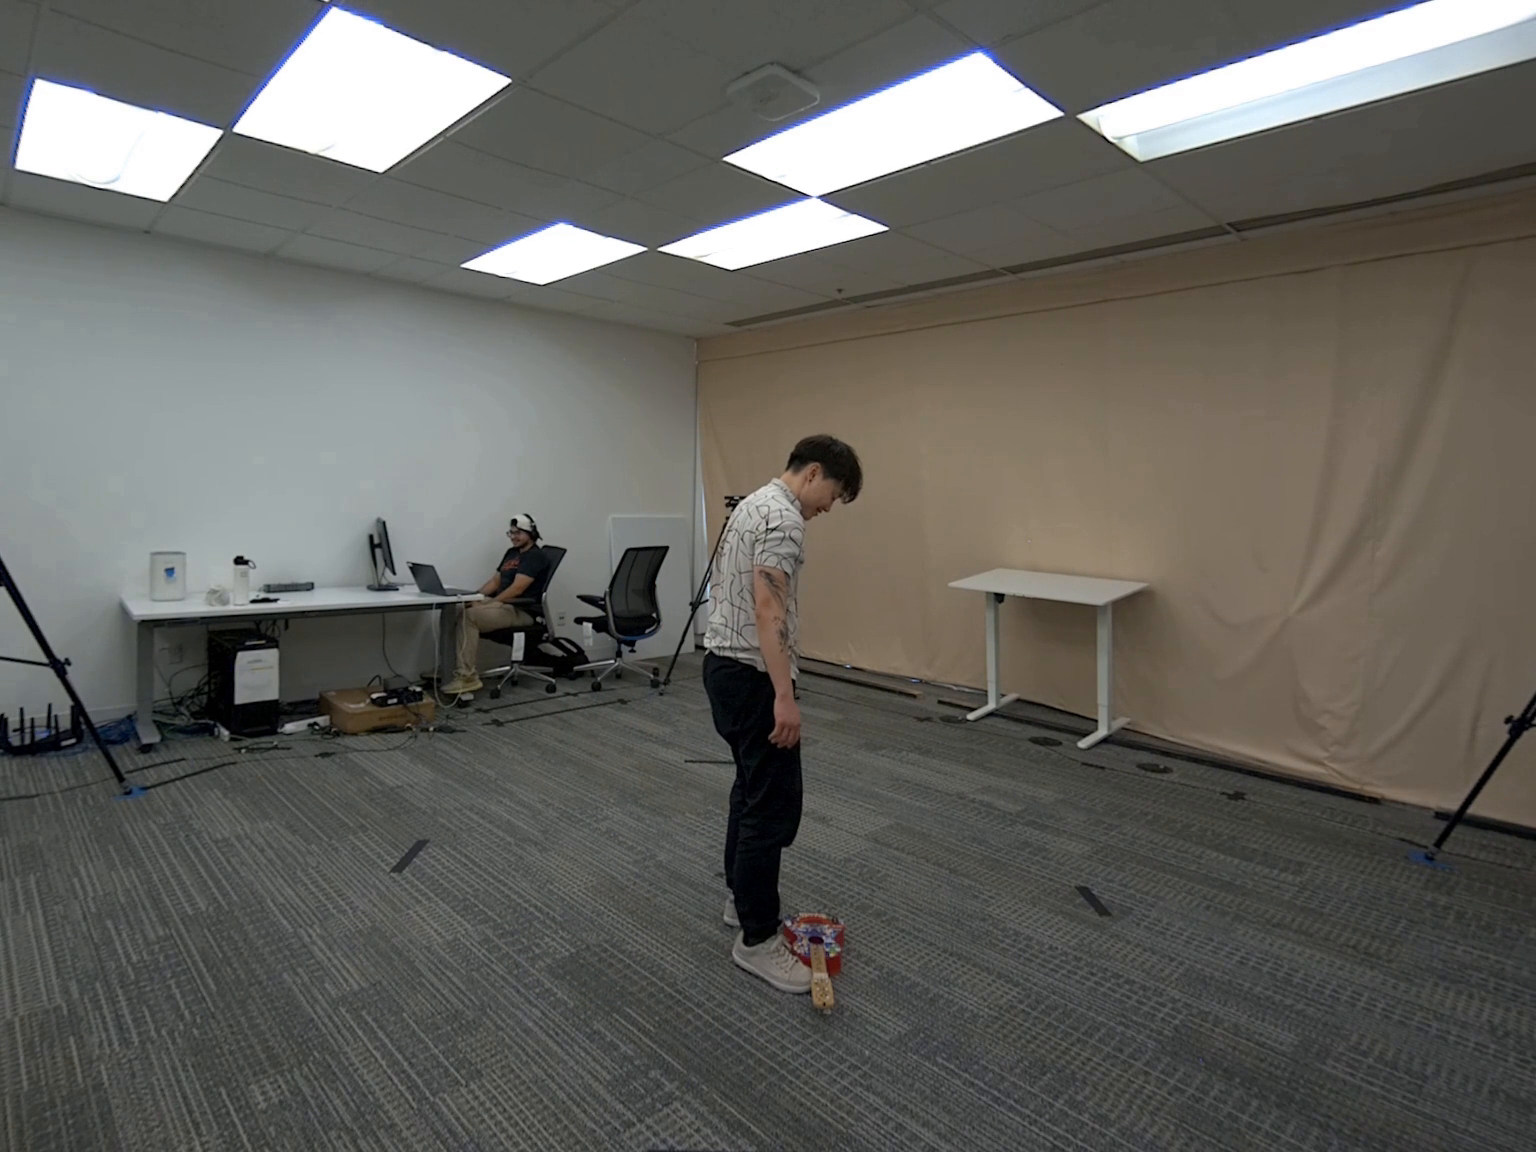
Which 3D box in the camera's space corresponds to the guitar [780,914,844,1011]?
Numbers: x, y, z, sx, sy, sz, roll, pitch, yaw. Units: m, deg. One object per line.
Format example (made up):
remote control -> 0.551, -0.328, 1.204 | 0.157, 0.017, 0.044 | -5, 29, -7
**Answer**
guitar -> 0.112, 1.140, 2.470 | 0.194, 0.070, 0.495 | 2, 5, 9
